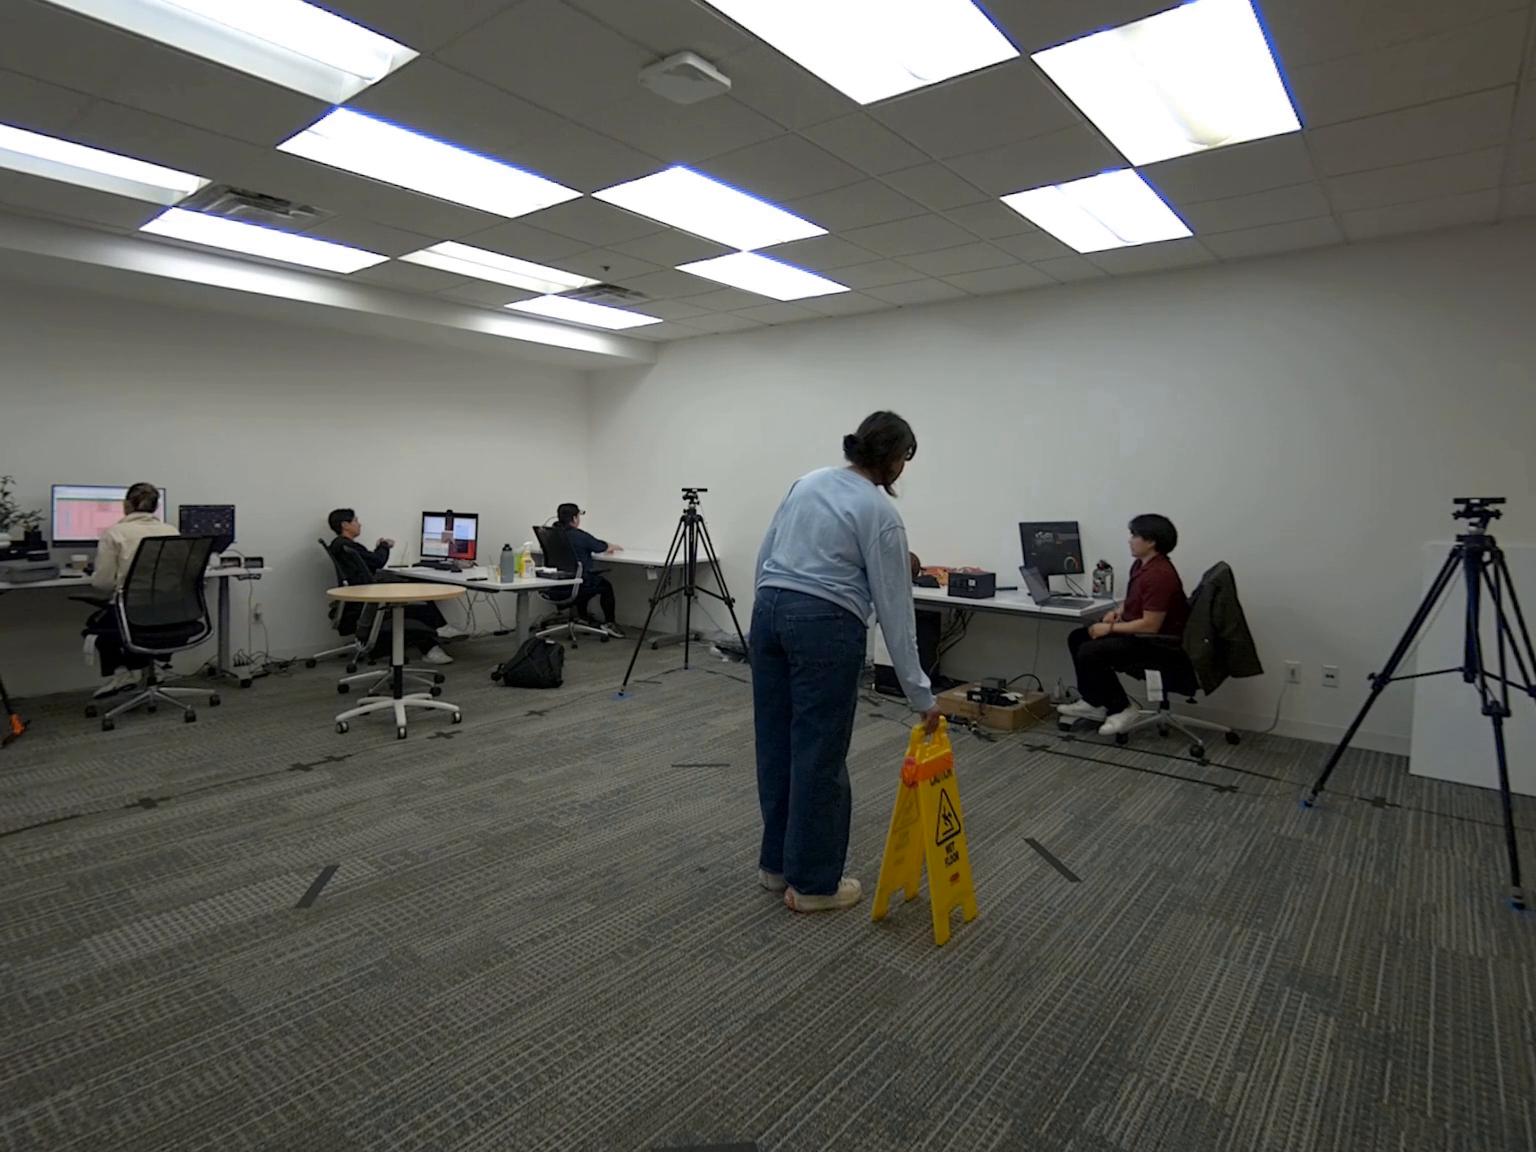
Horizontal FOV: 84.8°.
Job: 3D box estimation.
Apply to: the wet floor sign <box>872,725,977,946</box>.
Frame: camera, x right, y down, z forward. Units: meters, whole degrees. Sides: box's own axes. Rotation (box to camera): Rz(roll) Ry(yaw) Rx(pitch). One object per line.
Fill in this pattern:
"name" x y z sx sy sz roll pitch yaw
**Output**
"wet floor sign" 0.515 0.791 2.769 0.299 0.644 0.274 3 4 40
